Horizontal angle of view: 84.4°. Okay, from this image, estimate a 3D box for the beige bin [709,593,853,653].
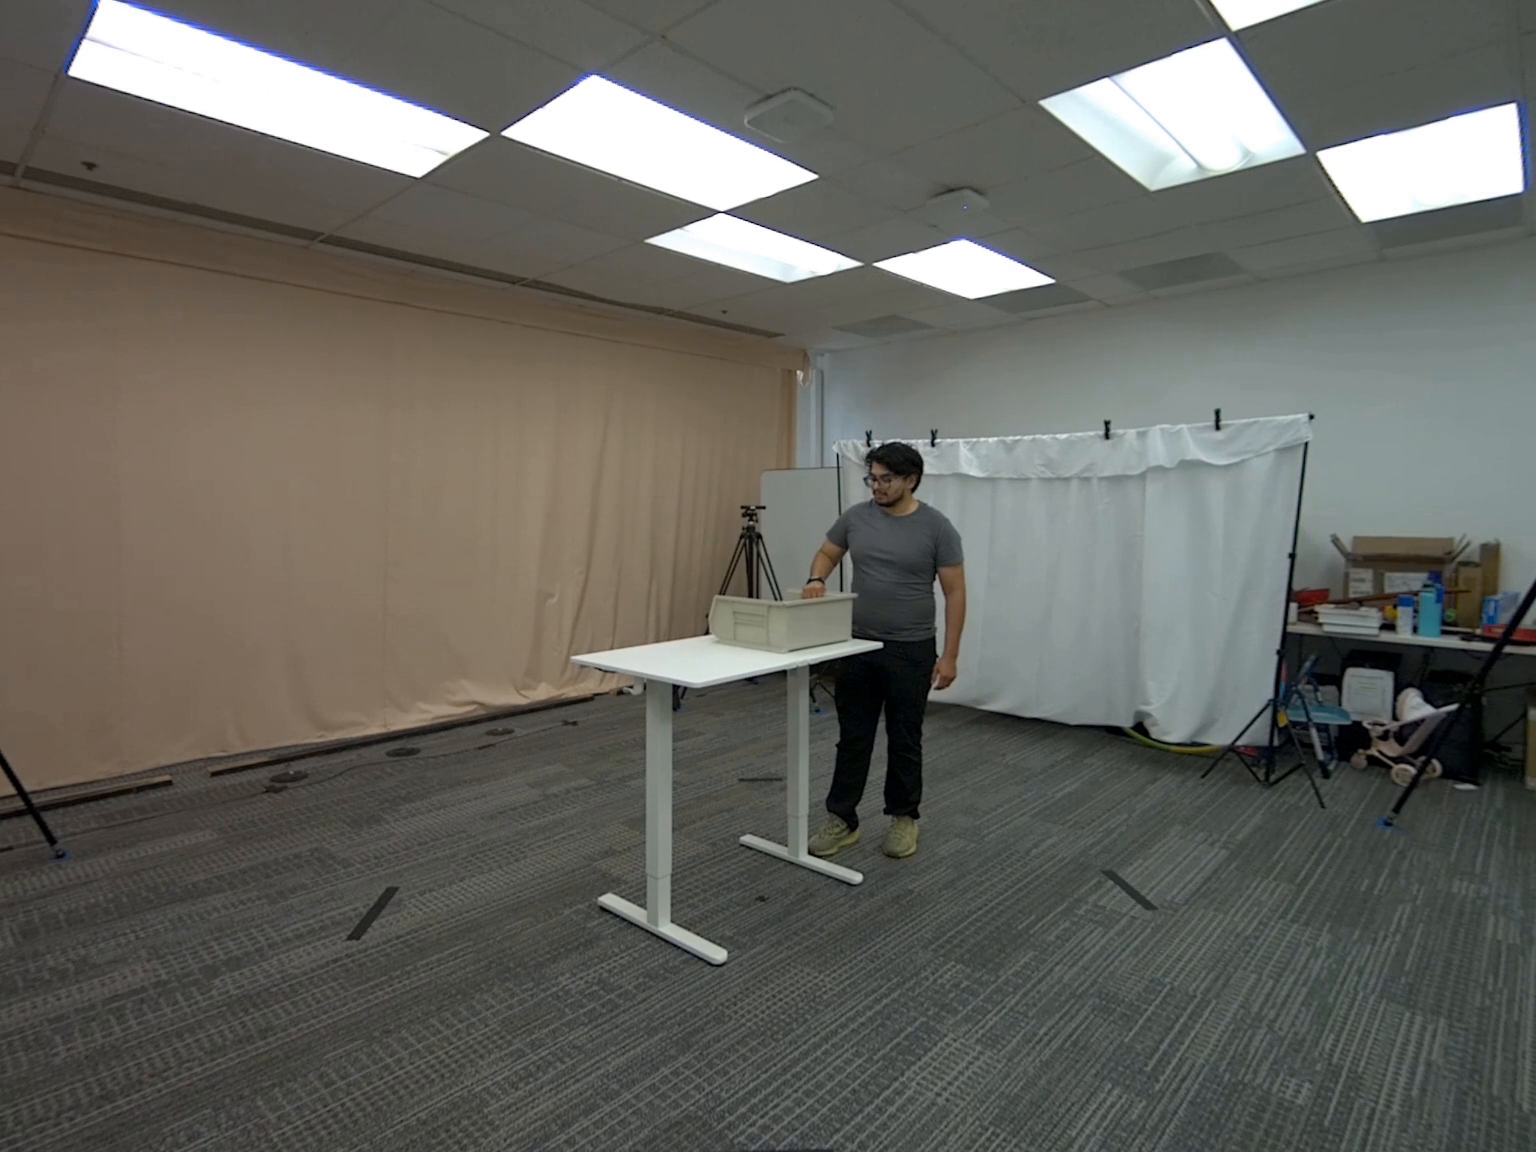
[{"bbox_3d":[0.055,0.158,3.161,0.390,0.188,0.409,7,7,43],"label":"beige bin"}]
